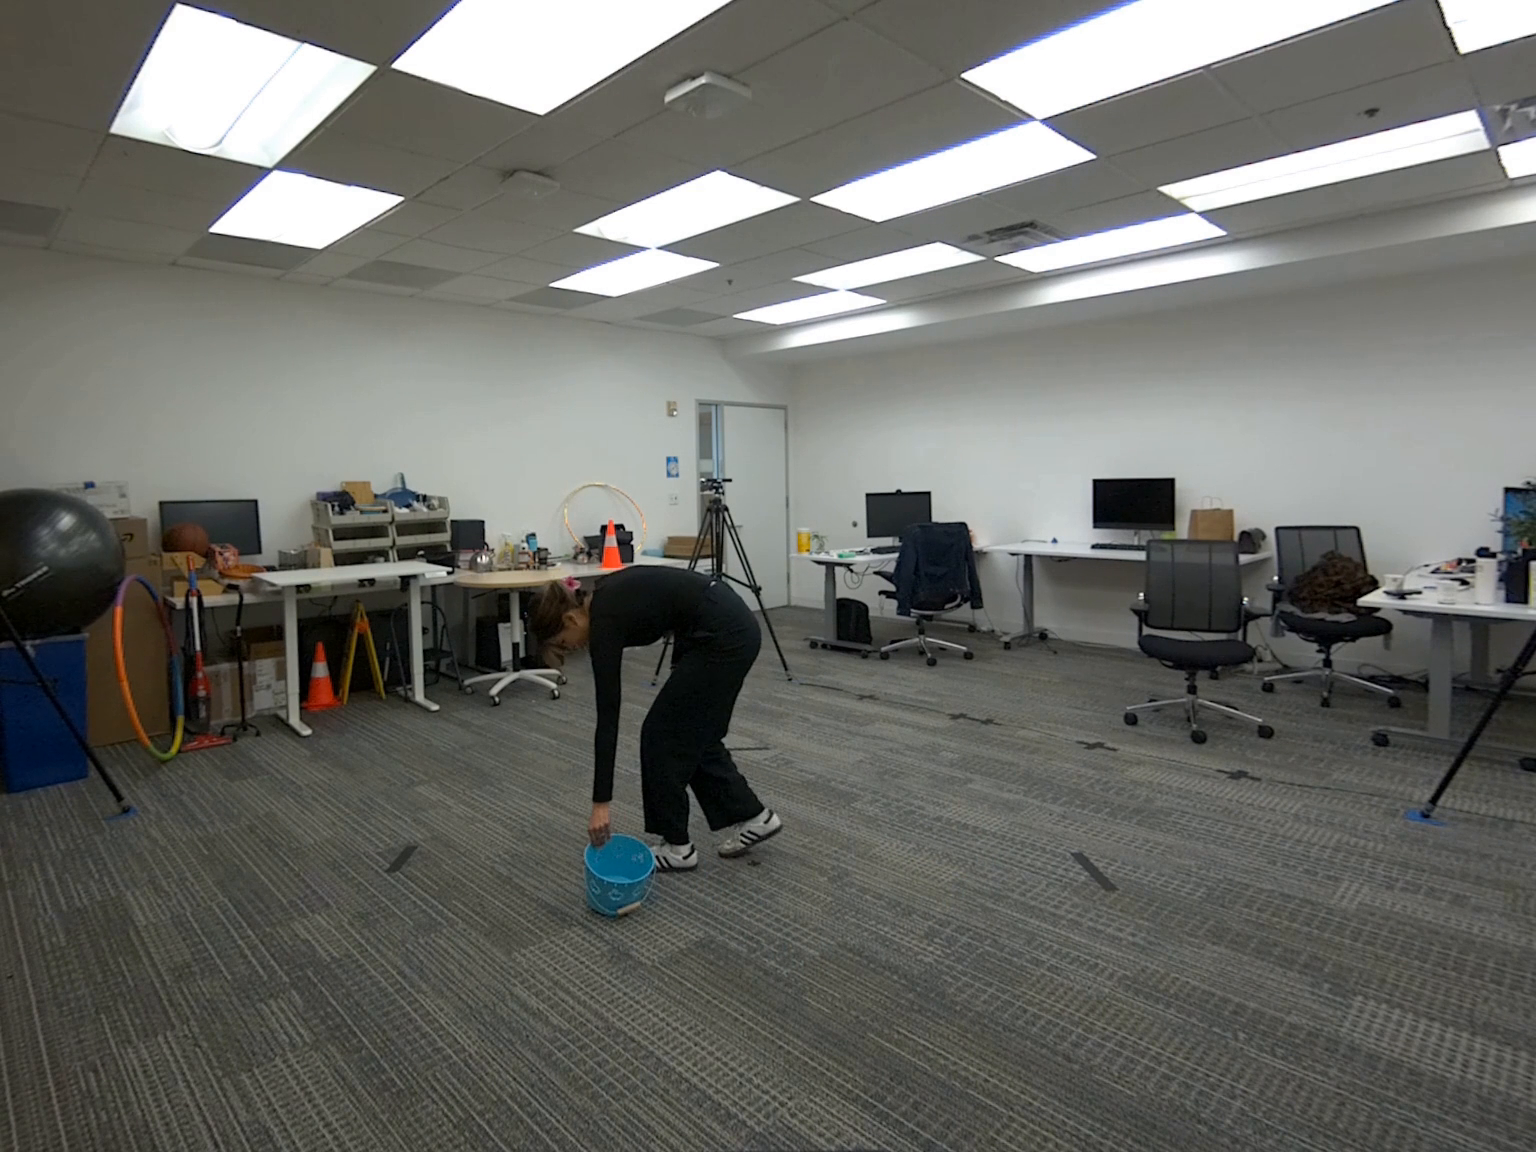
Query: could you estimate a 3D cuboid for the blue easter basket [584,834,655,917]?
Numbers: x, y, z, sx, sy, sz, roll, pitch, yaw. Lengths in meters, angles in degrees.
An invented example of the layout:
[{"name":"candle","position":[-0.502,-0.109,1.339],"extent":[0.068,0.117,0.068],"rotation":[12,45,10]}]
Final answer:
[{"name":"blue easter basket","position":[-0.493,0.987,2.806],"extent":[0.243,0.154,0.247],"rotation":[6,18,-4]}]
